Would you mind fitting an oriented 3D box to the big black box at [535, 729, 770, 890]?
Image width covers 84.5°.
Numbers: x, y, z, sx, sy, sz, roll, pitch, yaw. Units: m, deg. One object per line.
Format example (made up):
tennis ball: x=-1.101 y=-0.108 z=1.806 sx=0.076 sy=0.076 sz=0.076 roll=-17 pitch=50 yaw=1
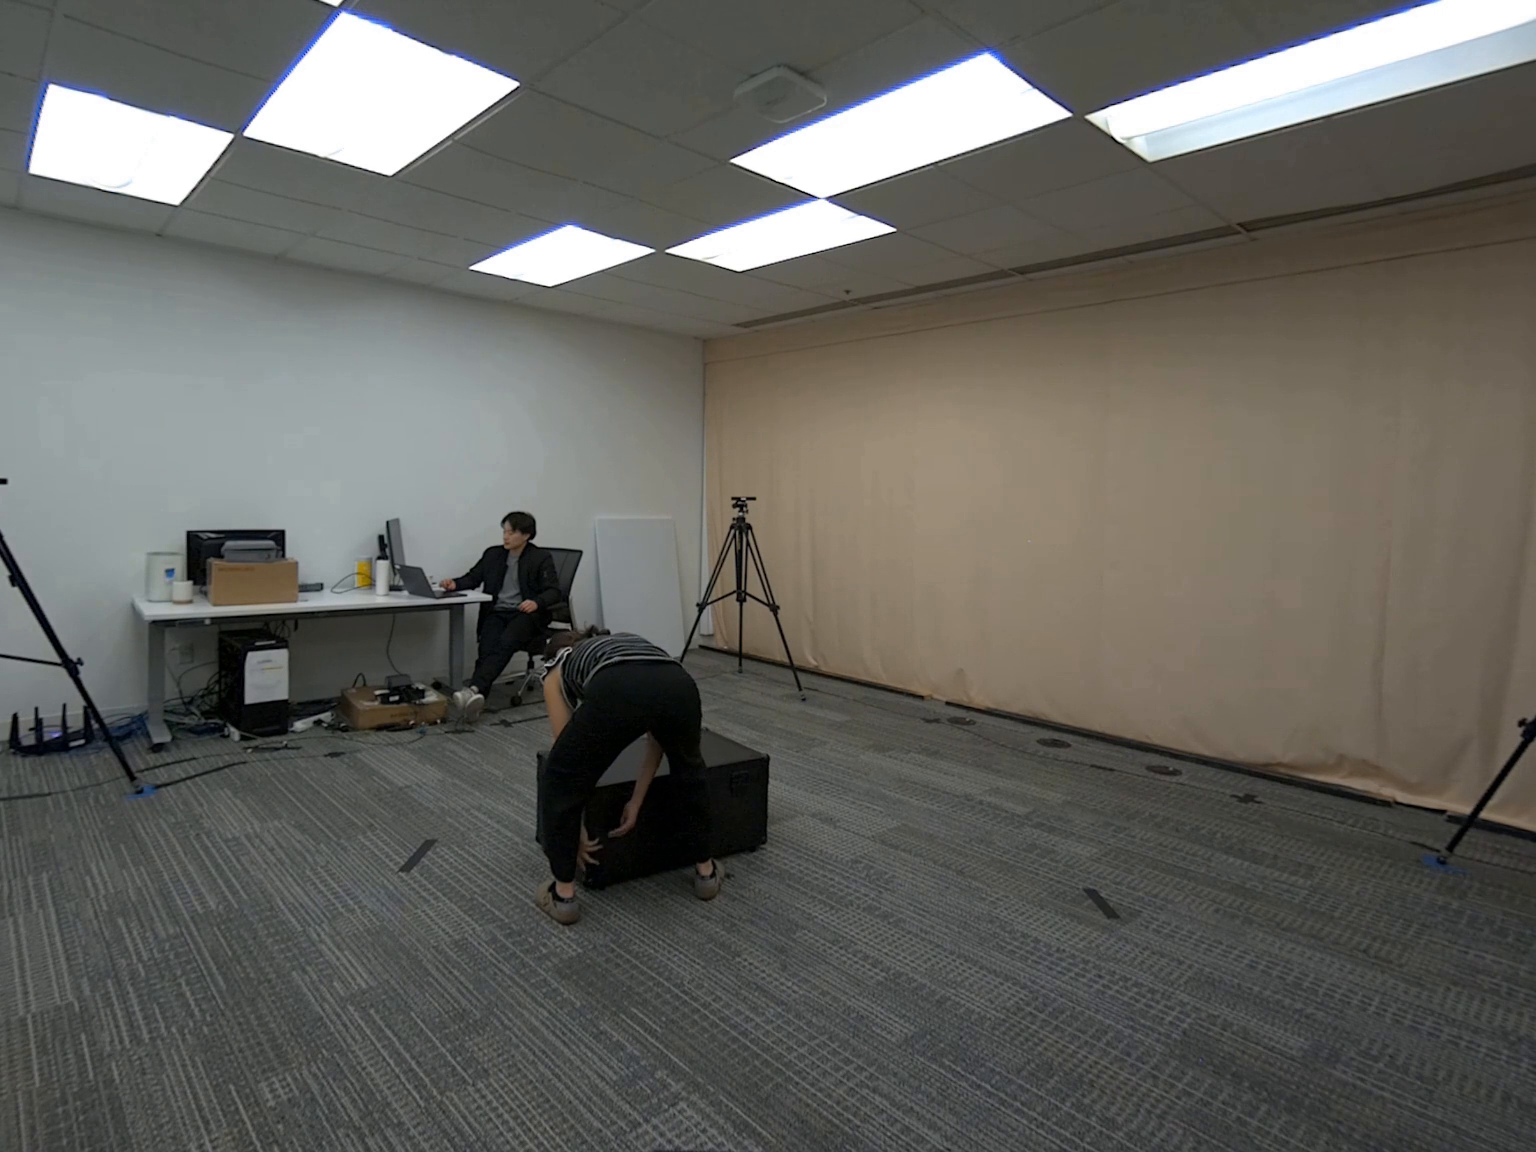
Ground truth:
big black box: x=-0.431 y=0.892 z=3.351 sx=0.843 sy=0.395 sz=0.534 roll=-3 pitch=6 yaw=-35
